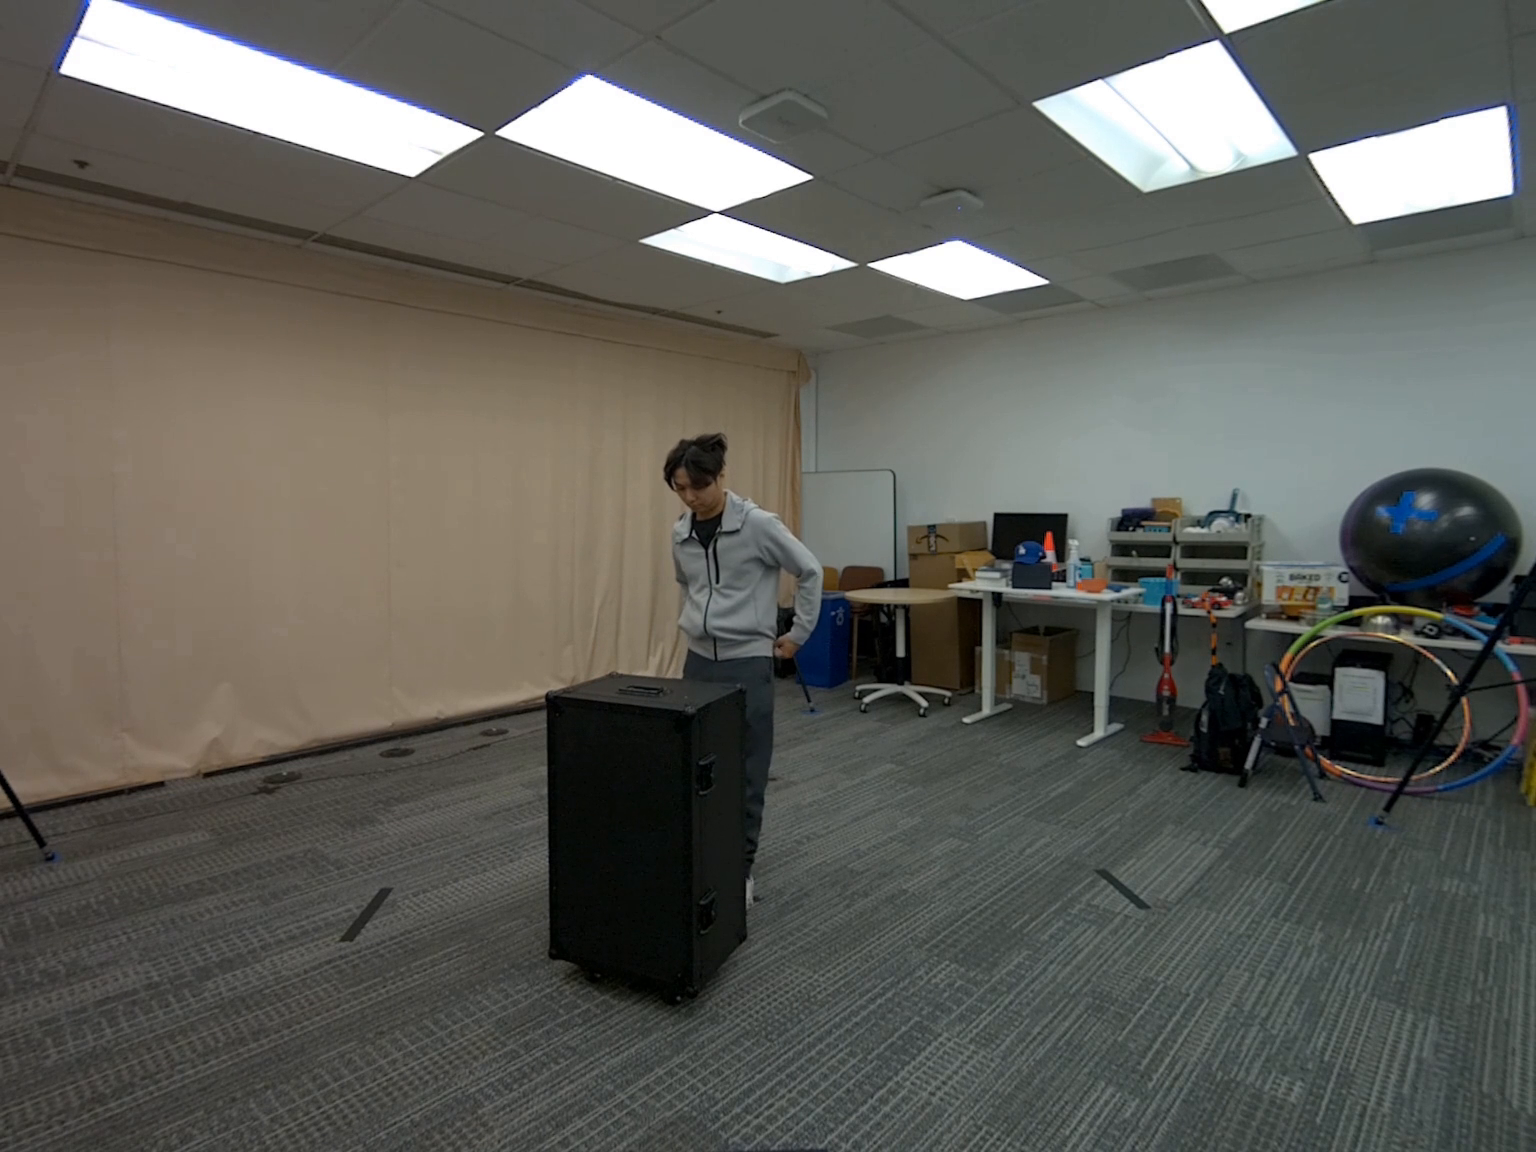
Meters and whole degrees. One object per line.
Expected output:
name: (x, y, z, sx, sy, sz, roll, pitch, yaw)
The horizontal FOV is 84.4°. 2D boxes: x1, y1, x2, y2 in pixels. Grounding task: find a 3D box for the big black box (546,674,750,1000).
big black box: (-0.359, 0.761, 2.513, 0.535, 0.860, 0.387, 2, 2, 25)
